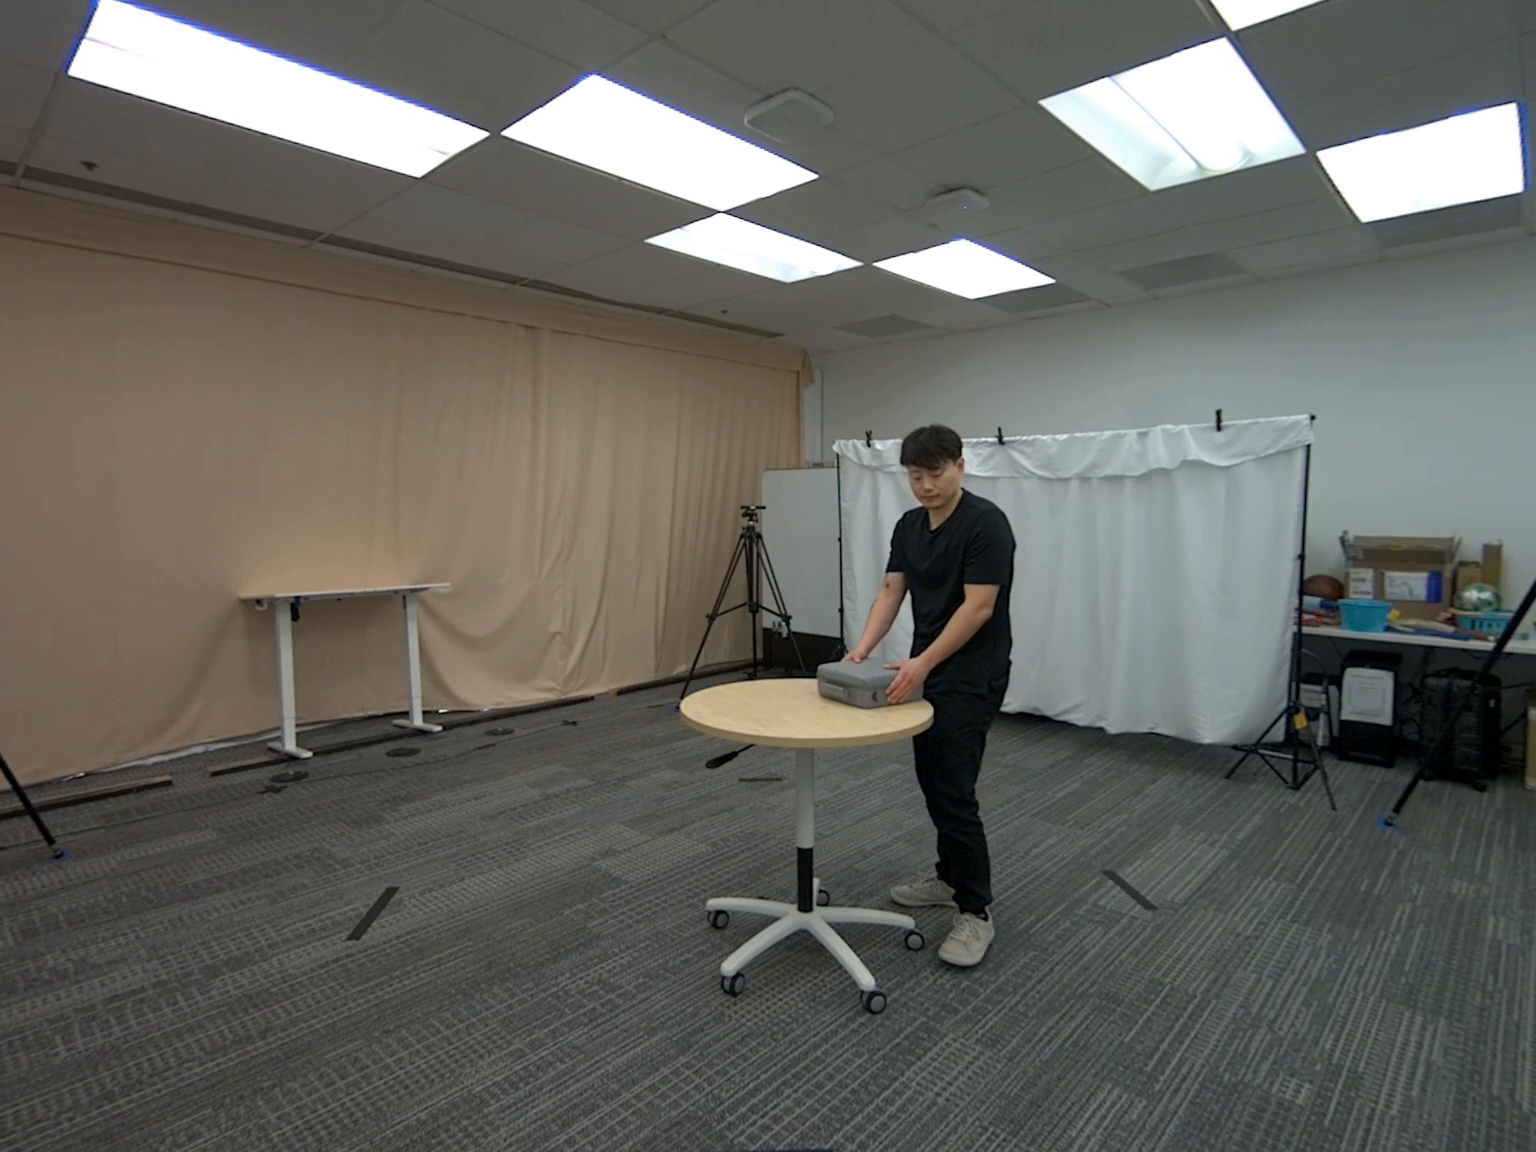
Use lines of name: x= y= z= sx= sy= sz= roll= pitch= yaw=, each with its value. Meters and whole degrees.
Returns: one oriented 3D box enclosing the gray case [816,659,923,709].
gray case: x=0.316 y=0.336 z=2.654 sx=0.254 sy=0.104 sz=0.264 roll=-3 pitch=6 yaw=-30
